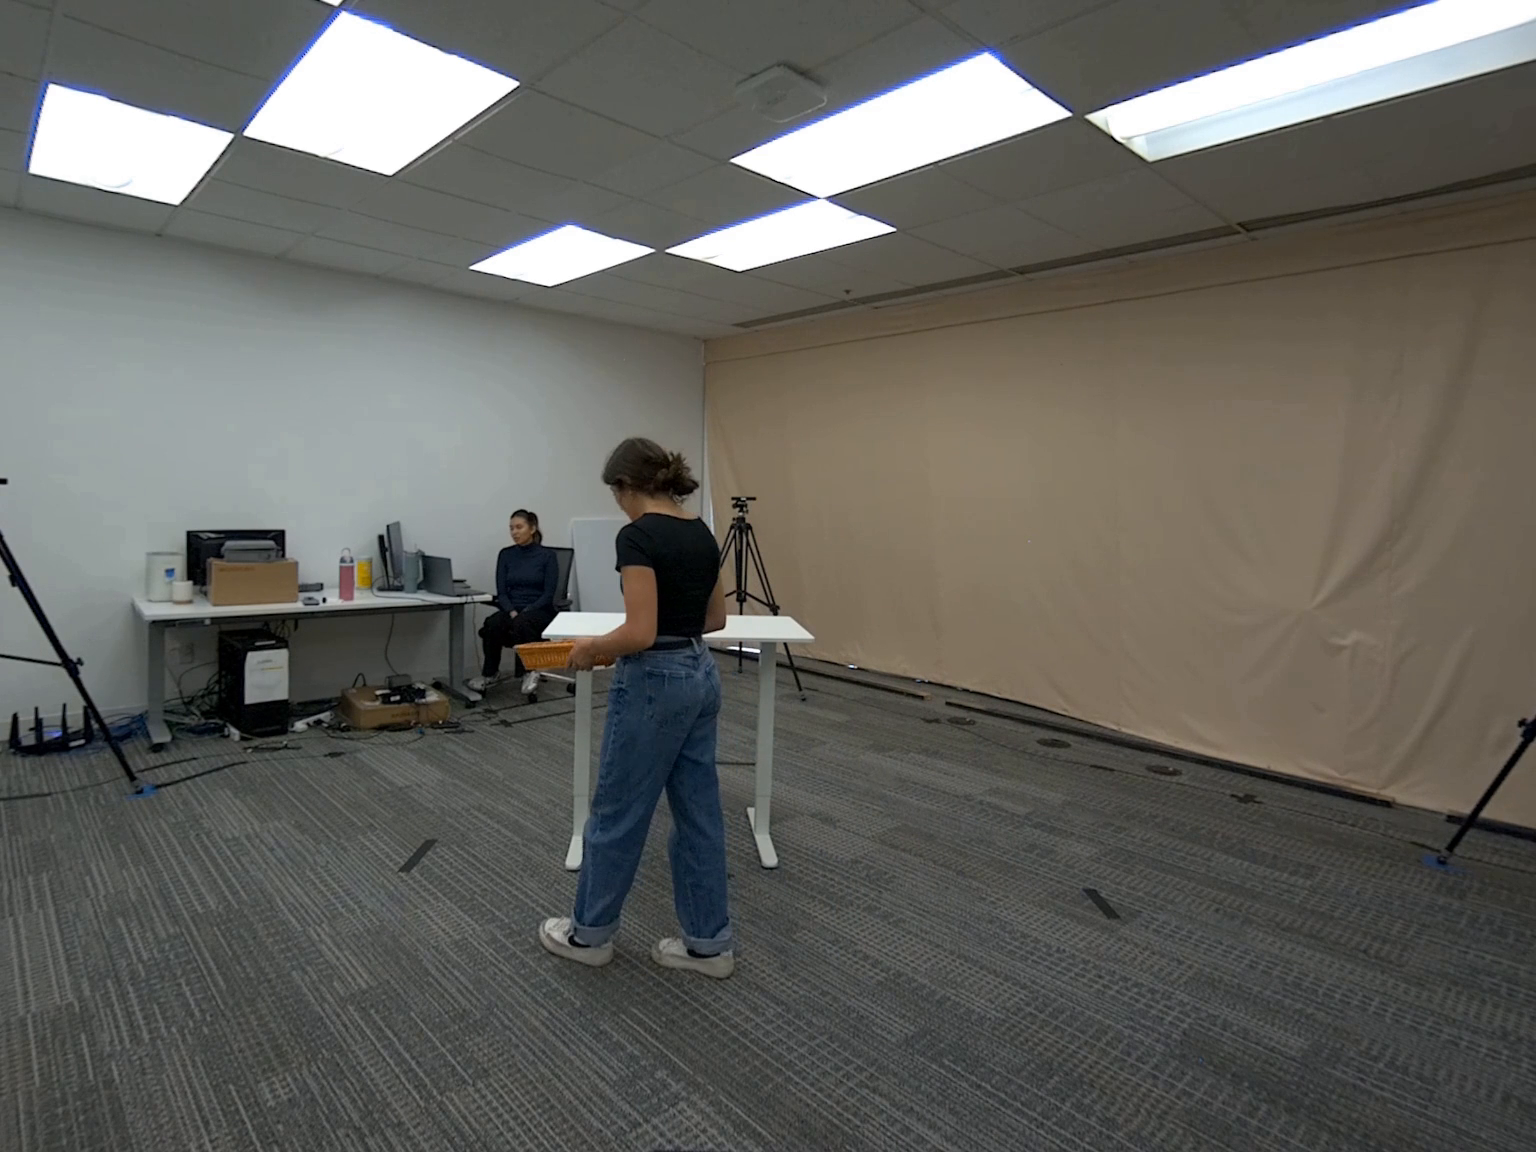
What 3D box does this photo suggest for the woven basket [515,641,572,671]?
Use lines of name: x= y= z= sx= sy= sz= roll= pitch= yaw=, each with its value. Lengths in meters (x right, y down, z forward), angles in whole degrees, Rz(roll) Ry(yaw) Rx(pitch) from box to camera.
woven basket: x=-0.614 y=0.247 z=2.594 sx=0.354 sy=0.074 sz=0.249 roll=-4 pitch=-3 yaw=15
